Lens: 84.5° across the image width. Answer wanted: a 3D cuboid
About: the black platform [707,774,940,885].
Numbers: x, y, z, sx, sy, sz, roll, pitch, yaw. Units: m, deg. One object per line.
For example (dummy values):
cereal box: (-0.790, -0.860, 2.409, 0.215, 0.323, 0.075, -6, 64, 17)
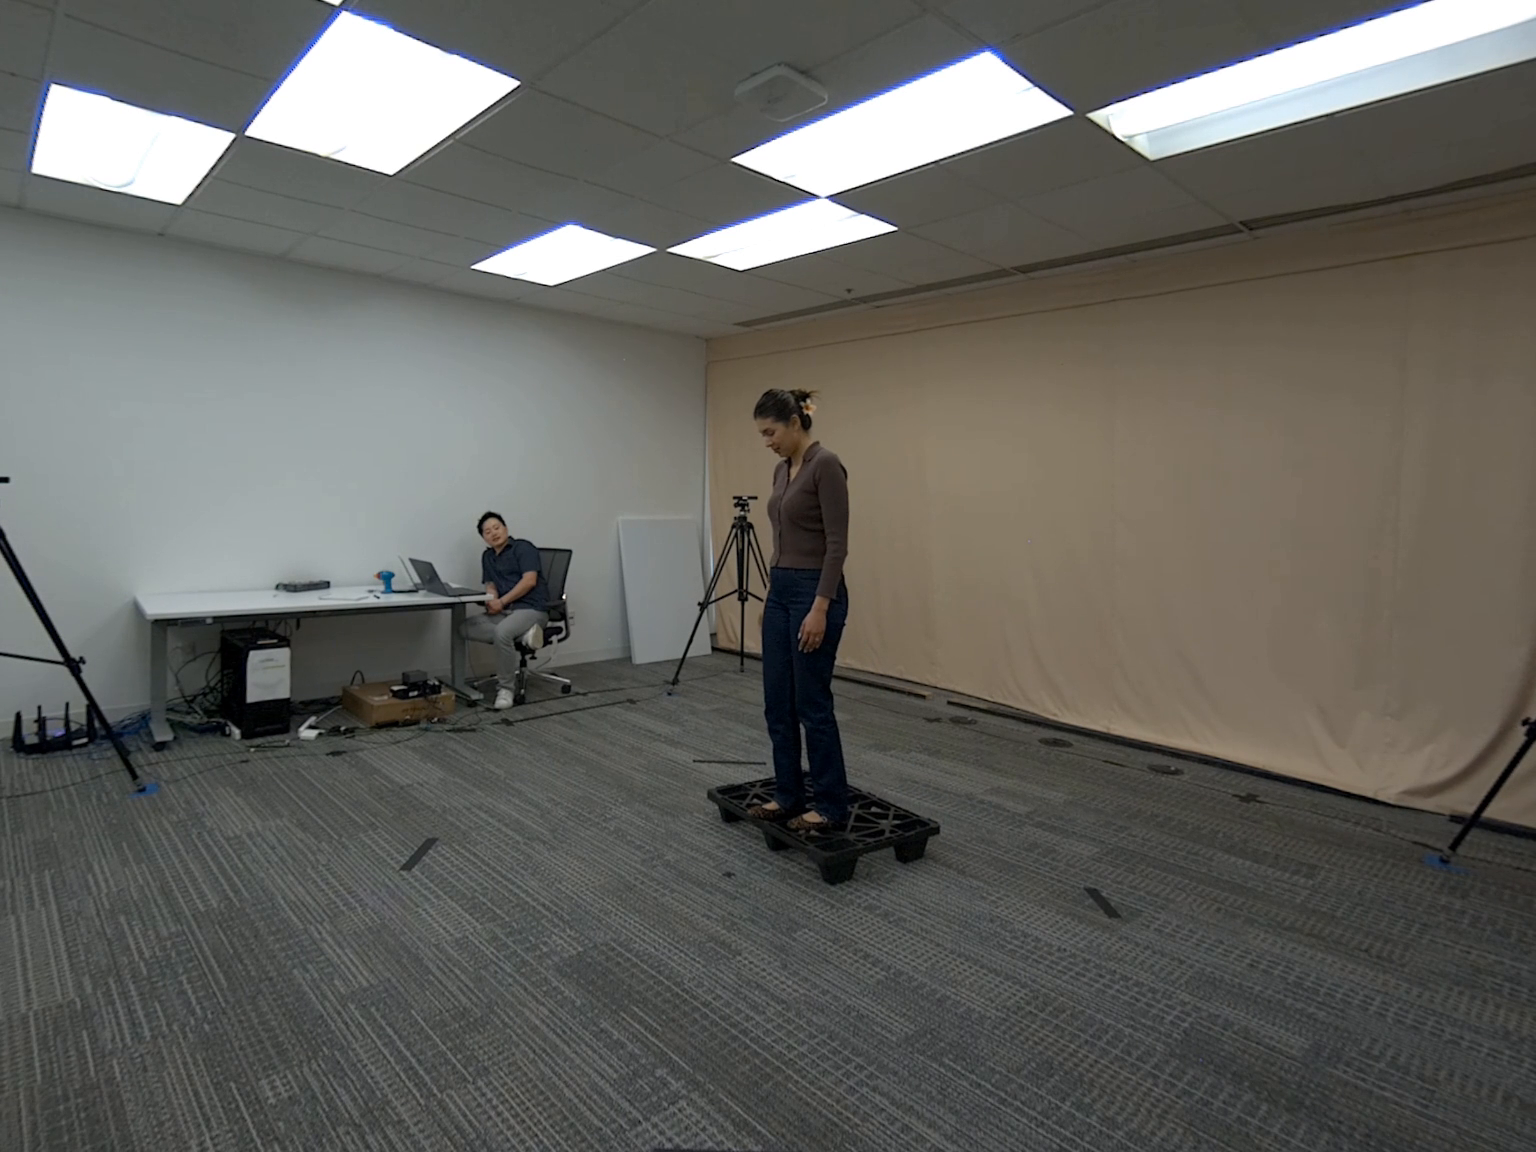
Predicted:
black platform: (0.197, 1.014, 3.458, 0.592, 0.143, 0.825, -3, 6, -35)
